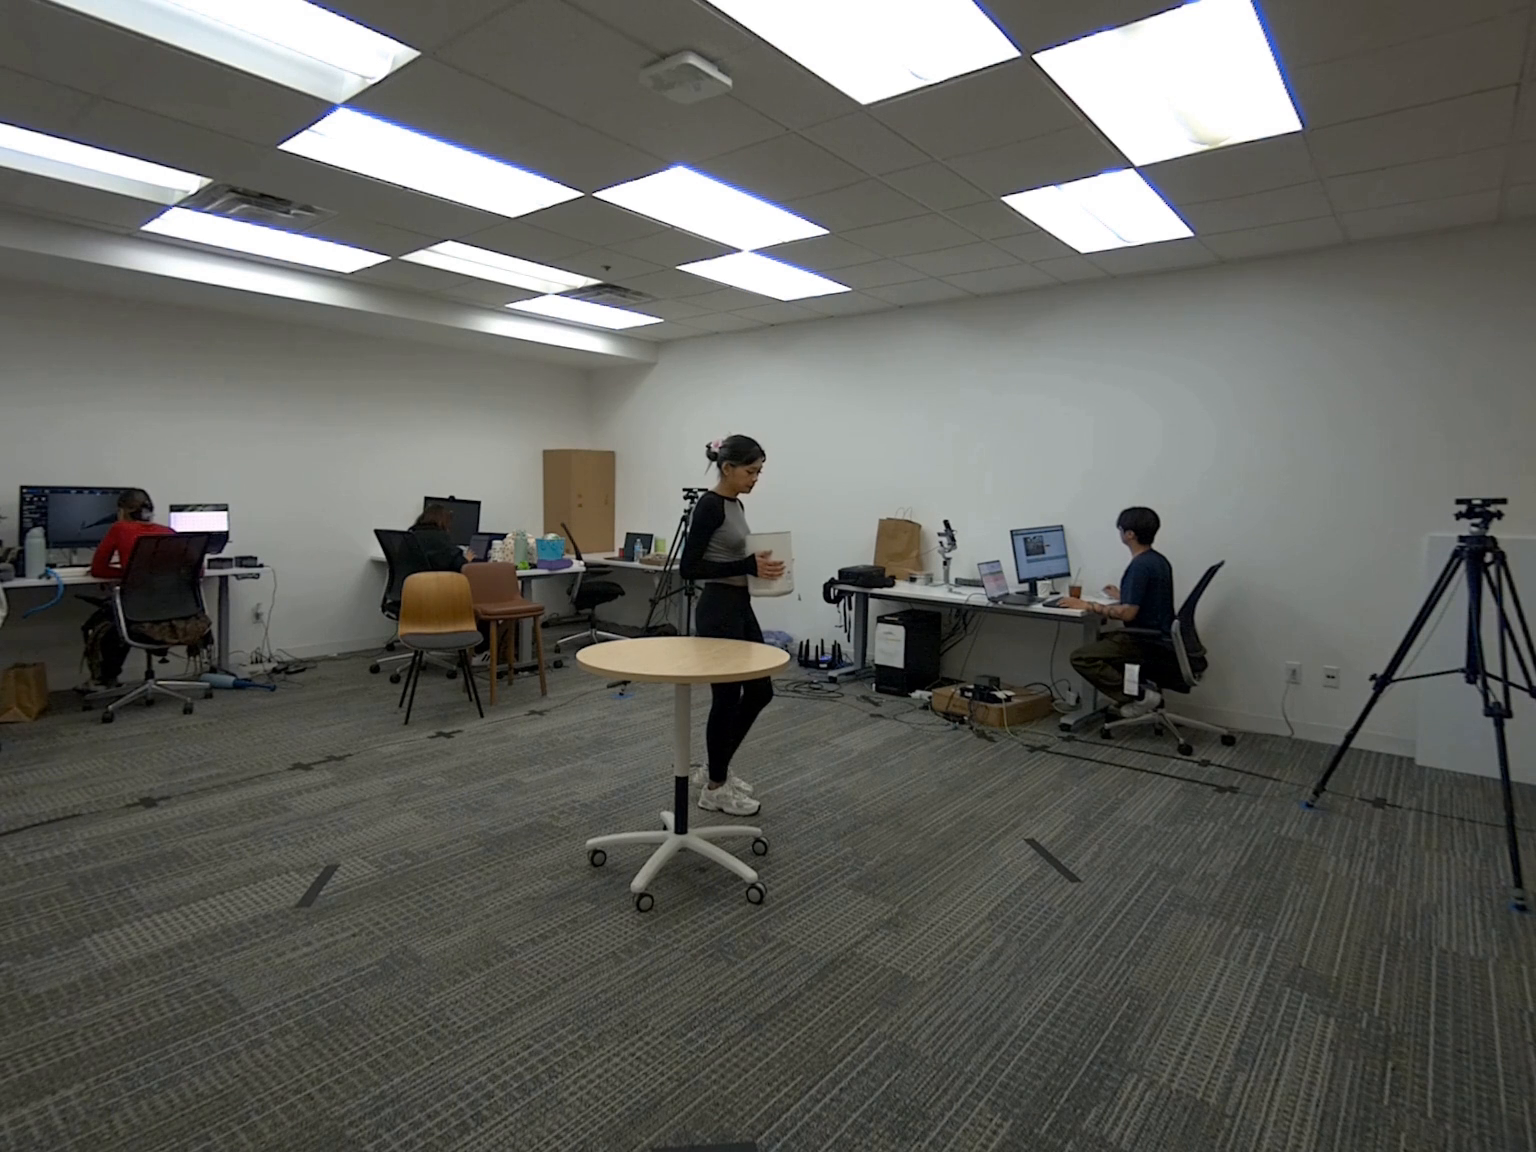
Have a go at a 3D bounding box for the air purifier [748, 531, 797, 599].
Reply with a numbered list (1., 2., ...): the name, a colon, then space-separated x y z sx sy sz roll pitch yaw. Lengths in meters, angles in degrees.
1. air purifier: -0.001 -0.049 3.550 0.175 0.266 0.167 -5 -1 23
